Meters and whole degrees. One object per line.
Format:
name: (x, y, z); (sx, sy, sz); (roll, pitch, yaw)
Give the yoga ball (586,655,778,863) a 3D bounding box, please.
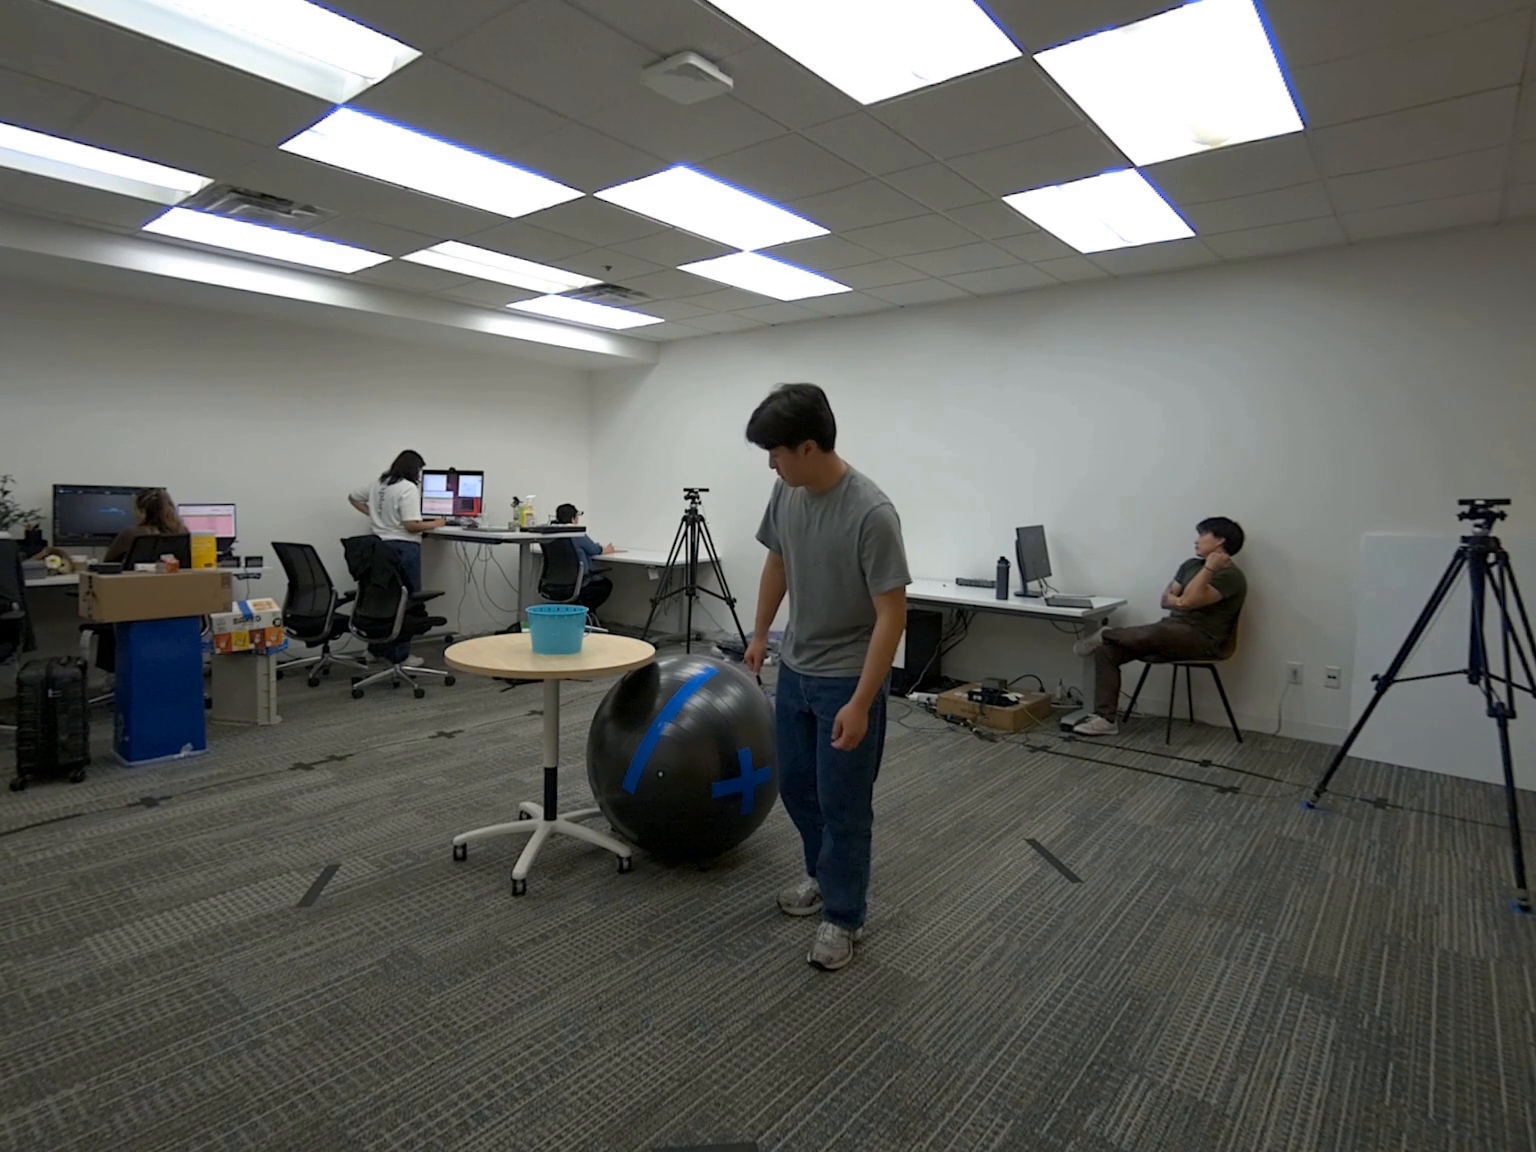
yoga ball: (-0.323, 0.681, 3.262); (0.757, 0.755, 0.762); (1, 4, -2)
